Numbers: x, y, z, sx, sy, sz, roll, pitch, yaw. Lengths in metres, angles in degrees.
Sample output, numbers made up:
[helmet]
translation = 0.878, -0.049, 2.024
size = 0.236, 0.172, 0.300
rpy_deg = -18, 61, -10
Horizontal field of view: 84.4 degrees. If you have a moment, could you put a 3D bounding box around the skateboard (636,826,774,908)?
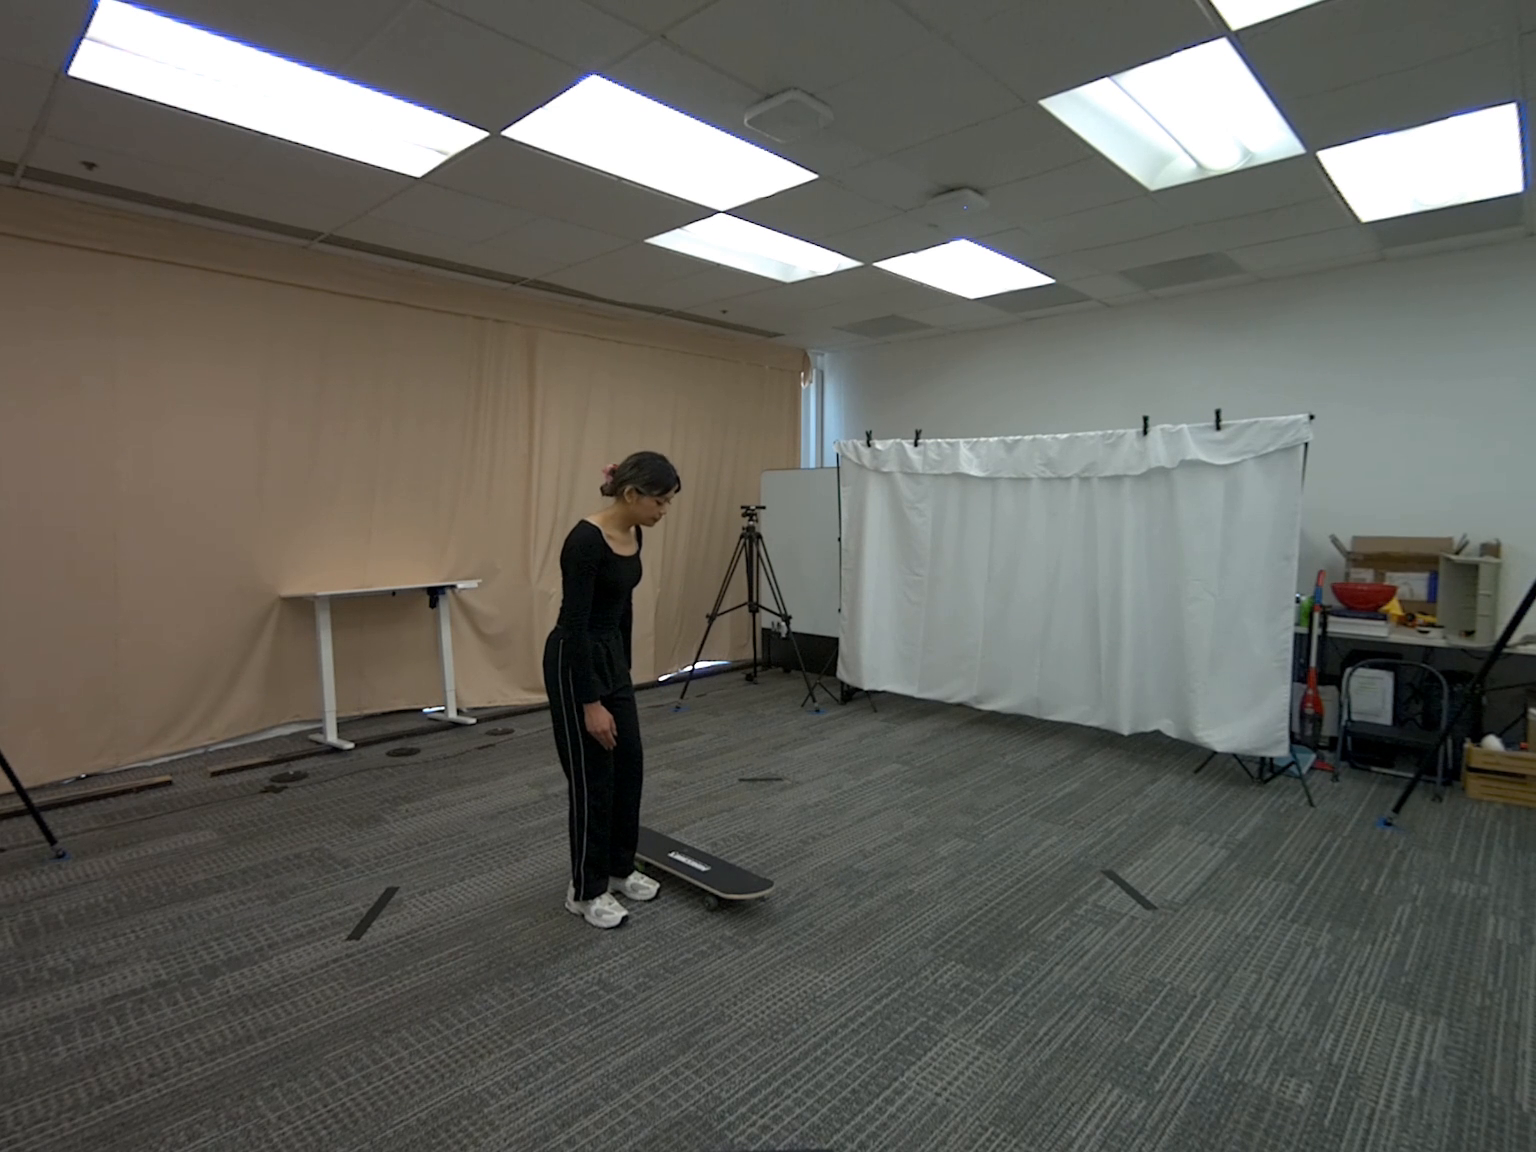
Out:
[skateboard]
translation = -0.291, 1.081, 3.100
size = 0.812, 0.110, 0.187
rpy_deg = 4, 5, 44
